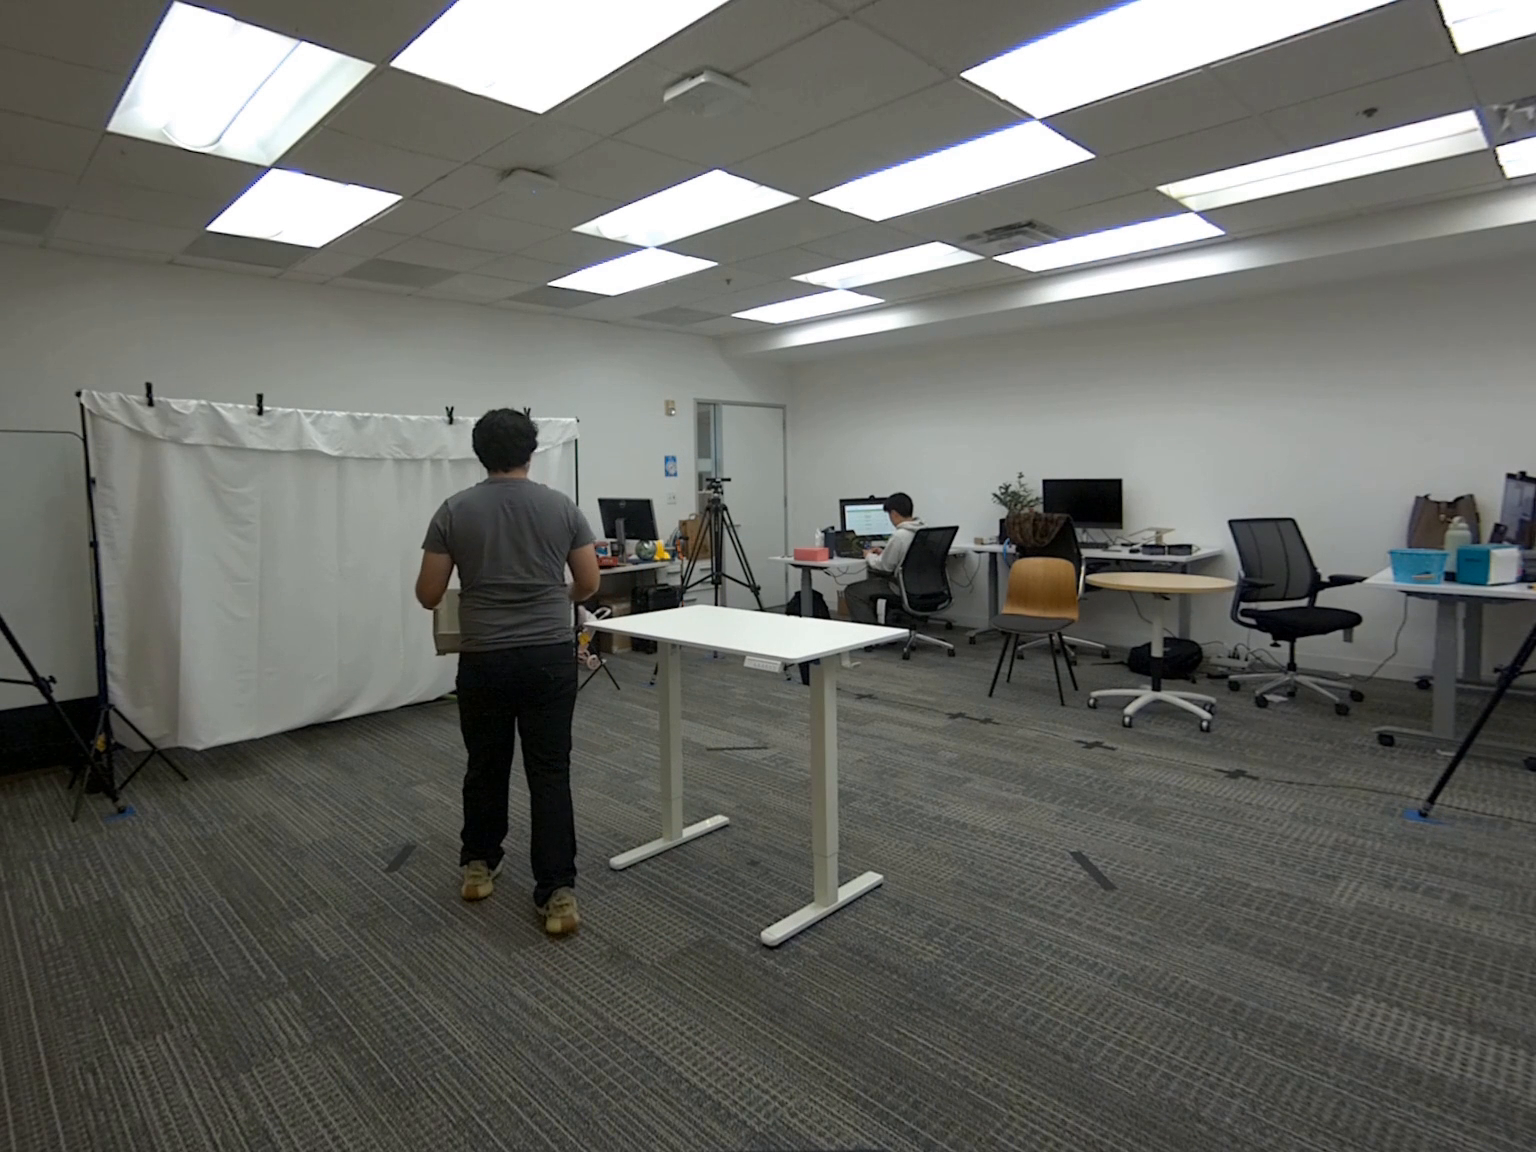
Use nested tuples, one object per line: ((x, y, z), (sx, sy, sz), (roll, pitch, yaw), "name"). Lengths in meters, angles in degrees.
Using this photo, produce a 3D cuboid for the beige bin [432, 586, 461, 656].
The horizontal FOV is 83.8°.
((-0.979, 0.156, 3.098), (0.417, 0.187, 0.385), (-2, 9, -14), "beige bin")
